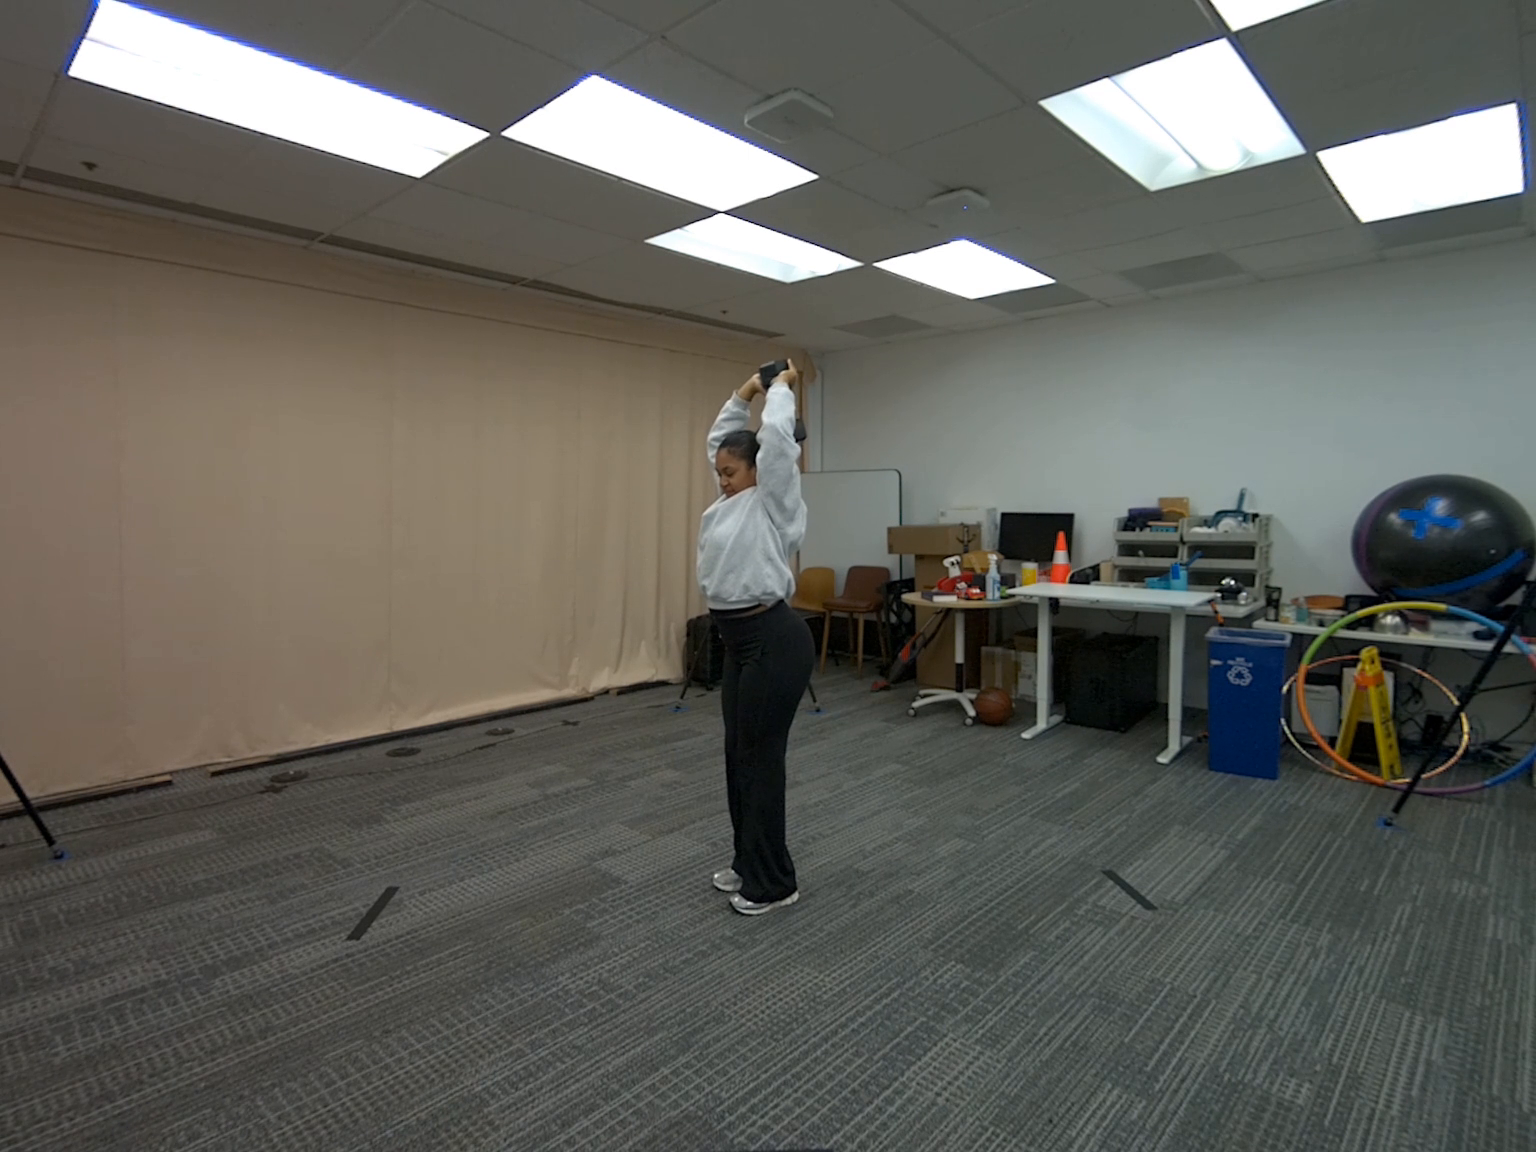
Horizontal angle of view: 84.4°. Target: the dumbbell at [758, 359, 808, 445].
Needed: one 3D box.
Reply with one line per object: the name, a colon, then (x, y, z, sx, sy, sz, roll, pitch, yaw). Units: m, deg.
dumbbell: (0.056, -0.610, 2.978, 0.126, 0.292, 0.106, -12, 5, 27)
